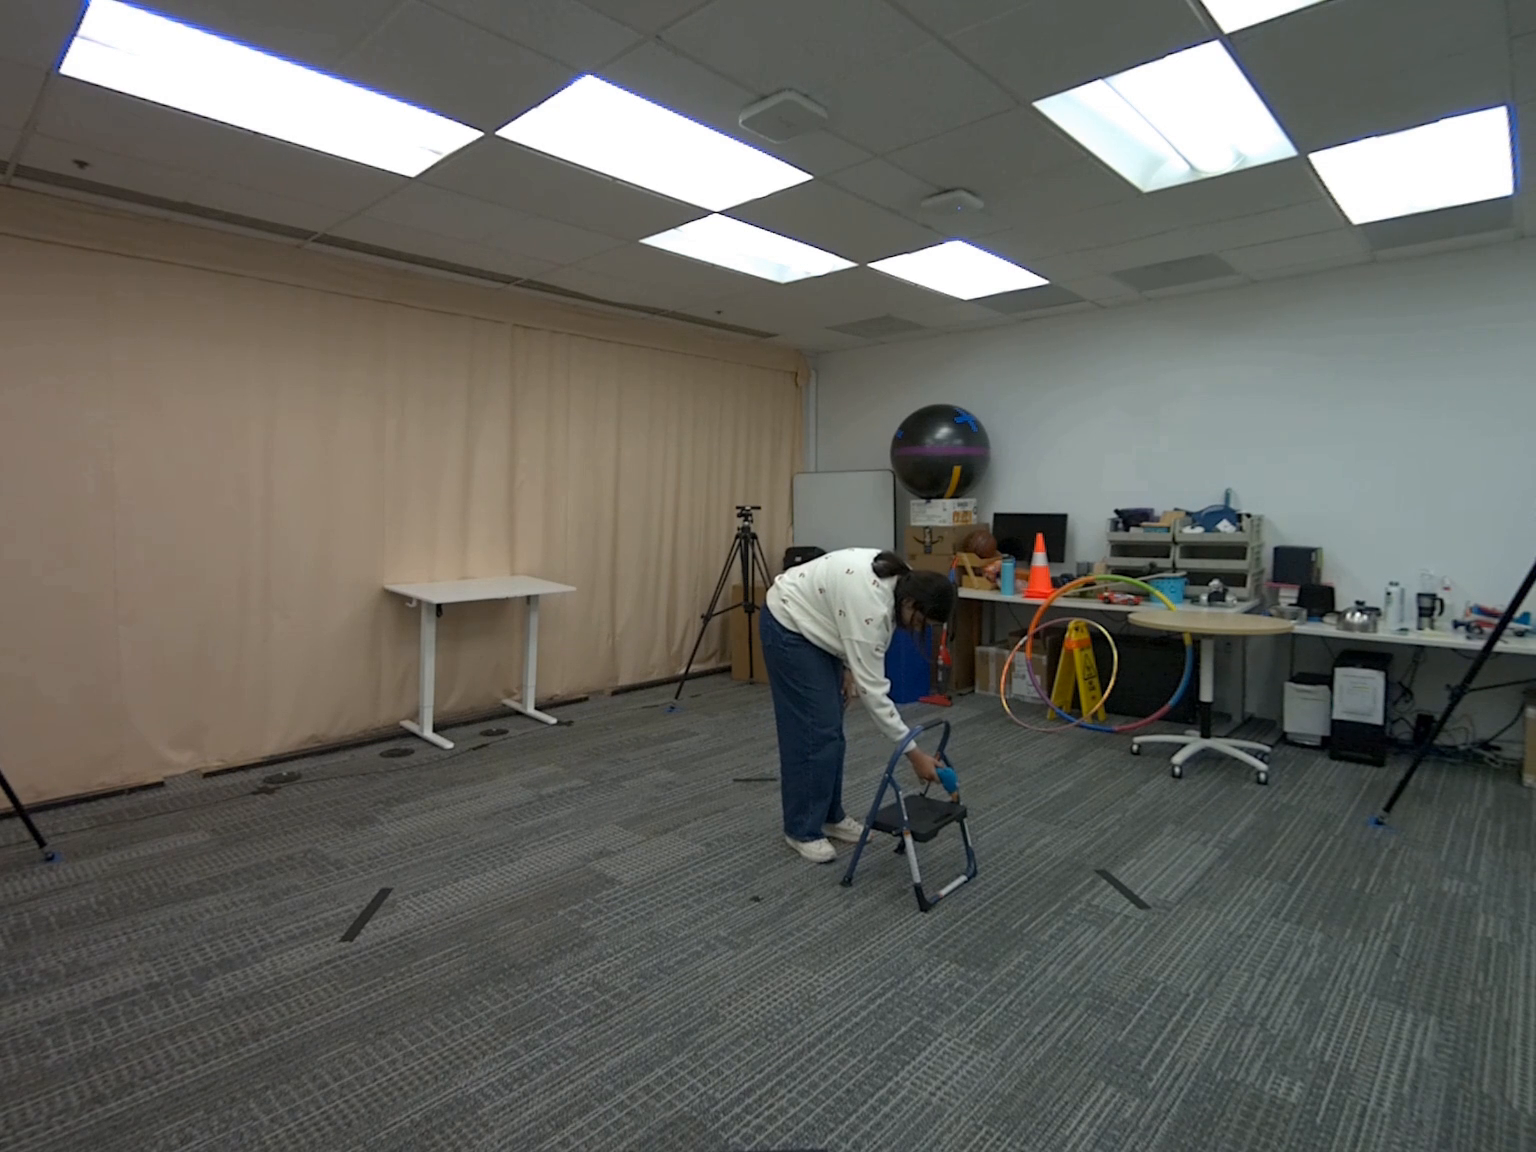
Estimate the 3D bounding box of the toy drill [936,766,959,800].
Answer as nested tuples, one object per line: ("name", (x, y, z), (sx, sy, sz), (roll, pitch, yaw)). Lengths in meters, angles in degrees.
("toy drill", (0.668, 0.784, 3.188), (0.060, 0.166, 0.151), (-40, 29, -29))
